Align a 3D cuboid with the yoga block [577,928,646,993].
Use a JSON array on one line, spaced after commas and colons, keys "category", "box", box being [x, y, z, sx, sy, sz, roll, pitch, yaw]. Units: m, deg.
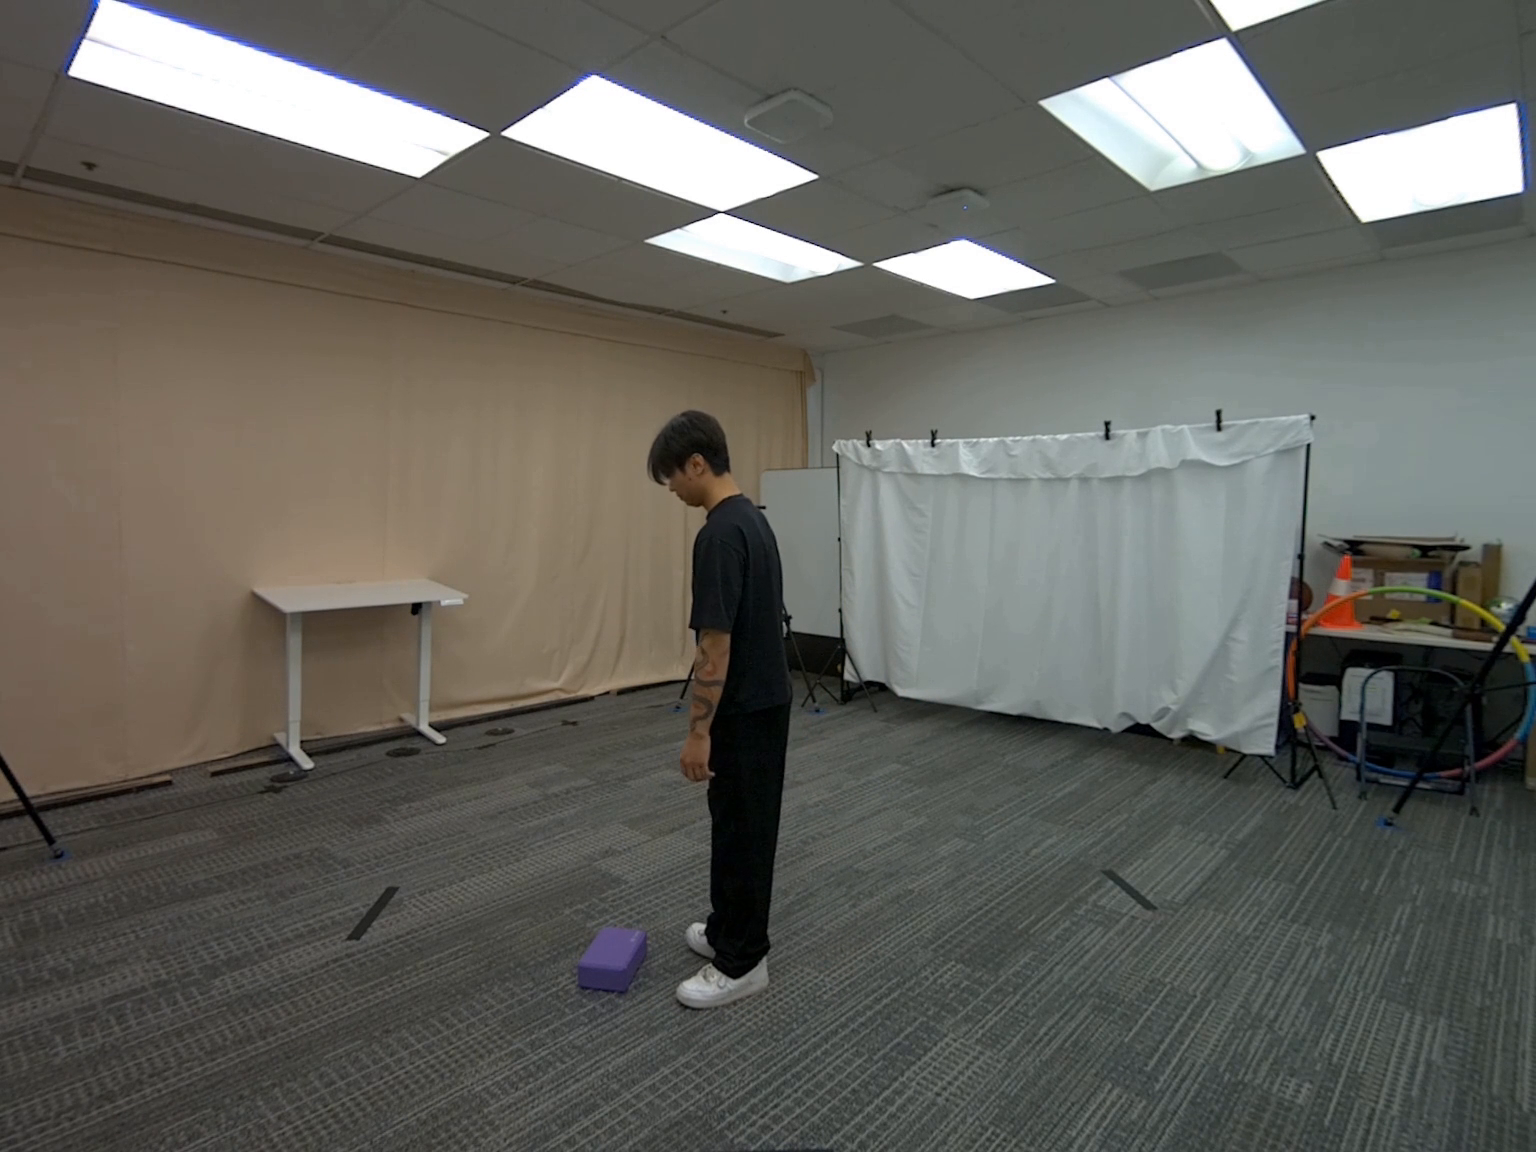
[{"category": "yoga block", "box": [-0.464, 1.150, 2.520, 0.150, 0.076, 0.227, 0, 3, 9]}]
